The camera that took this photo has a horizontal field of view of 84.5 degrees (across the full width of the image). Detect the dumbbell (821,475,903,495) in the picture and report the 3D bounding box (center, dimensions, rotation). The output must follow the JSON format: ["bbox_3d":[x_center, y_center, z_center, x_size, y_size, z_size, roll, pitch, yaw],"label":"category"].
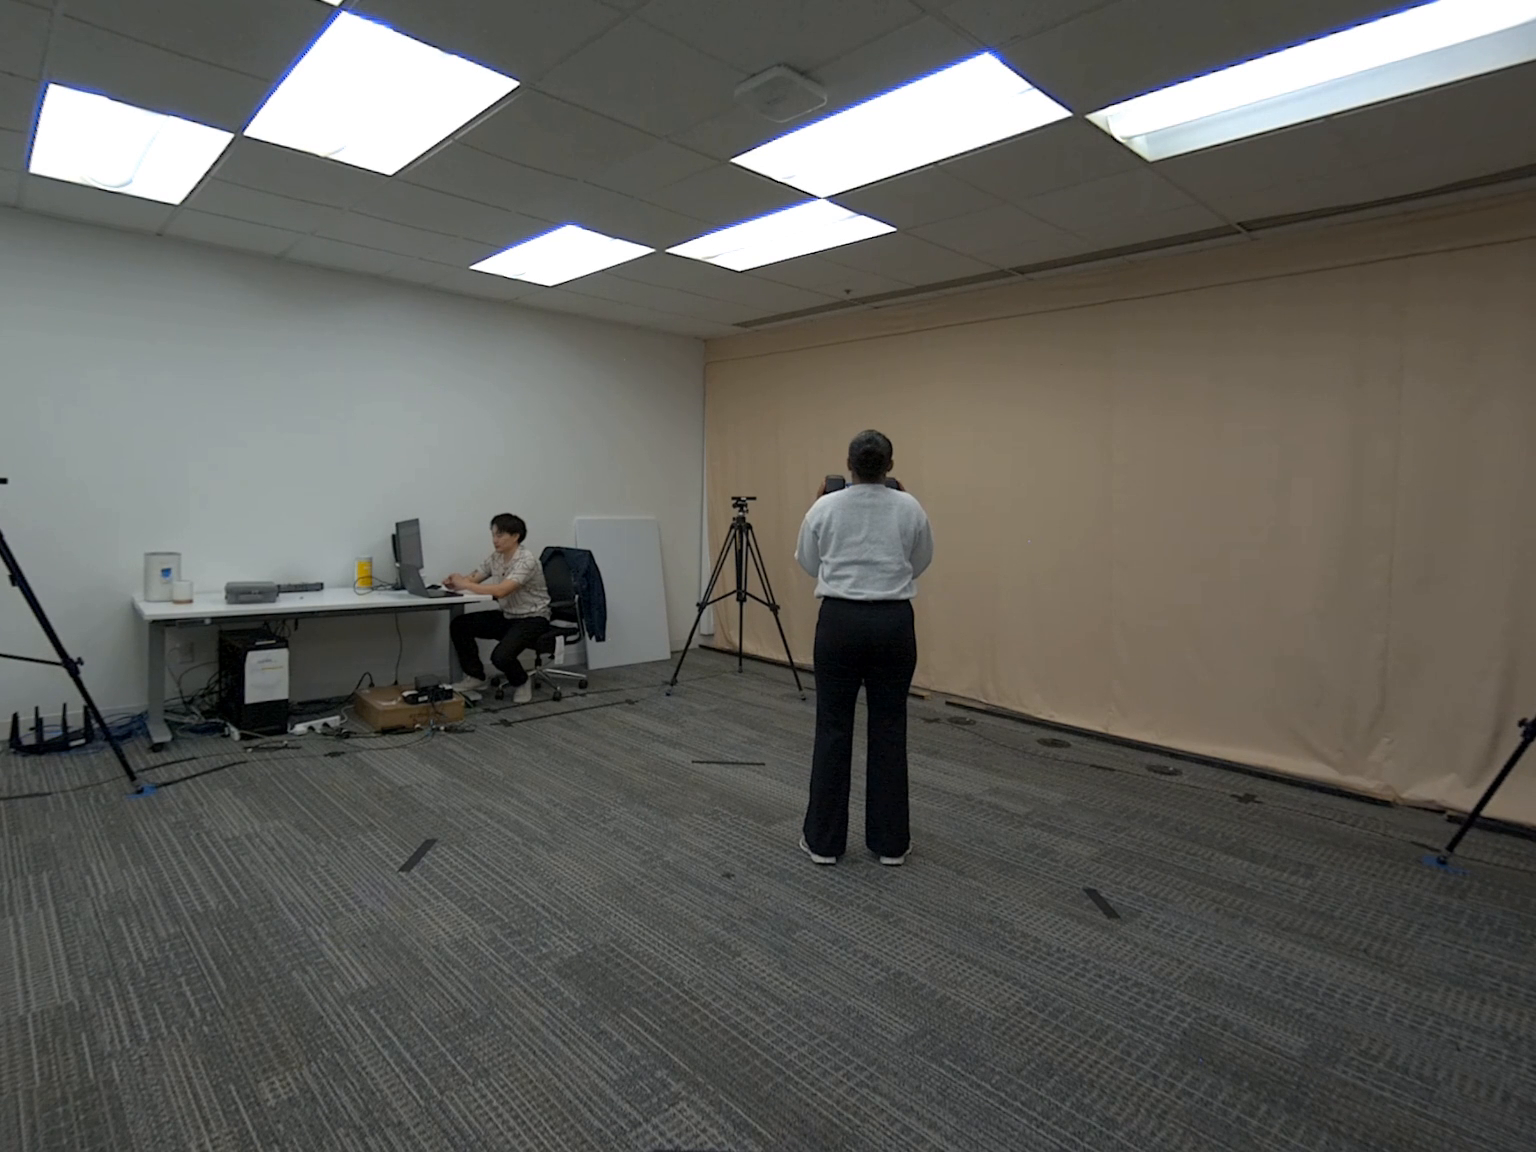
[{"bbox_3d":[0.379,-0.345,3.415,0.294,0.111,0.120,3,-41,2],"label":"dumbbell"}]
